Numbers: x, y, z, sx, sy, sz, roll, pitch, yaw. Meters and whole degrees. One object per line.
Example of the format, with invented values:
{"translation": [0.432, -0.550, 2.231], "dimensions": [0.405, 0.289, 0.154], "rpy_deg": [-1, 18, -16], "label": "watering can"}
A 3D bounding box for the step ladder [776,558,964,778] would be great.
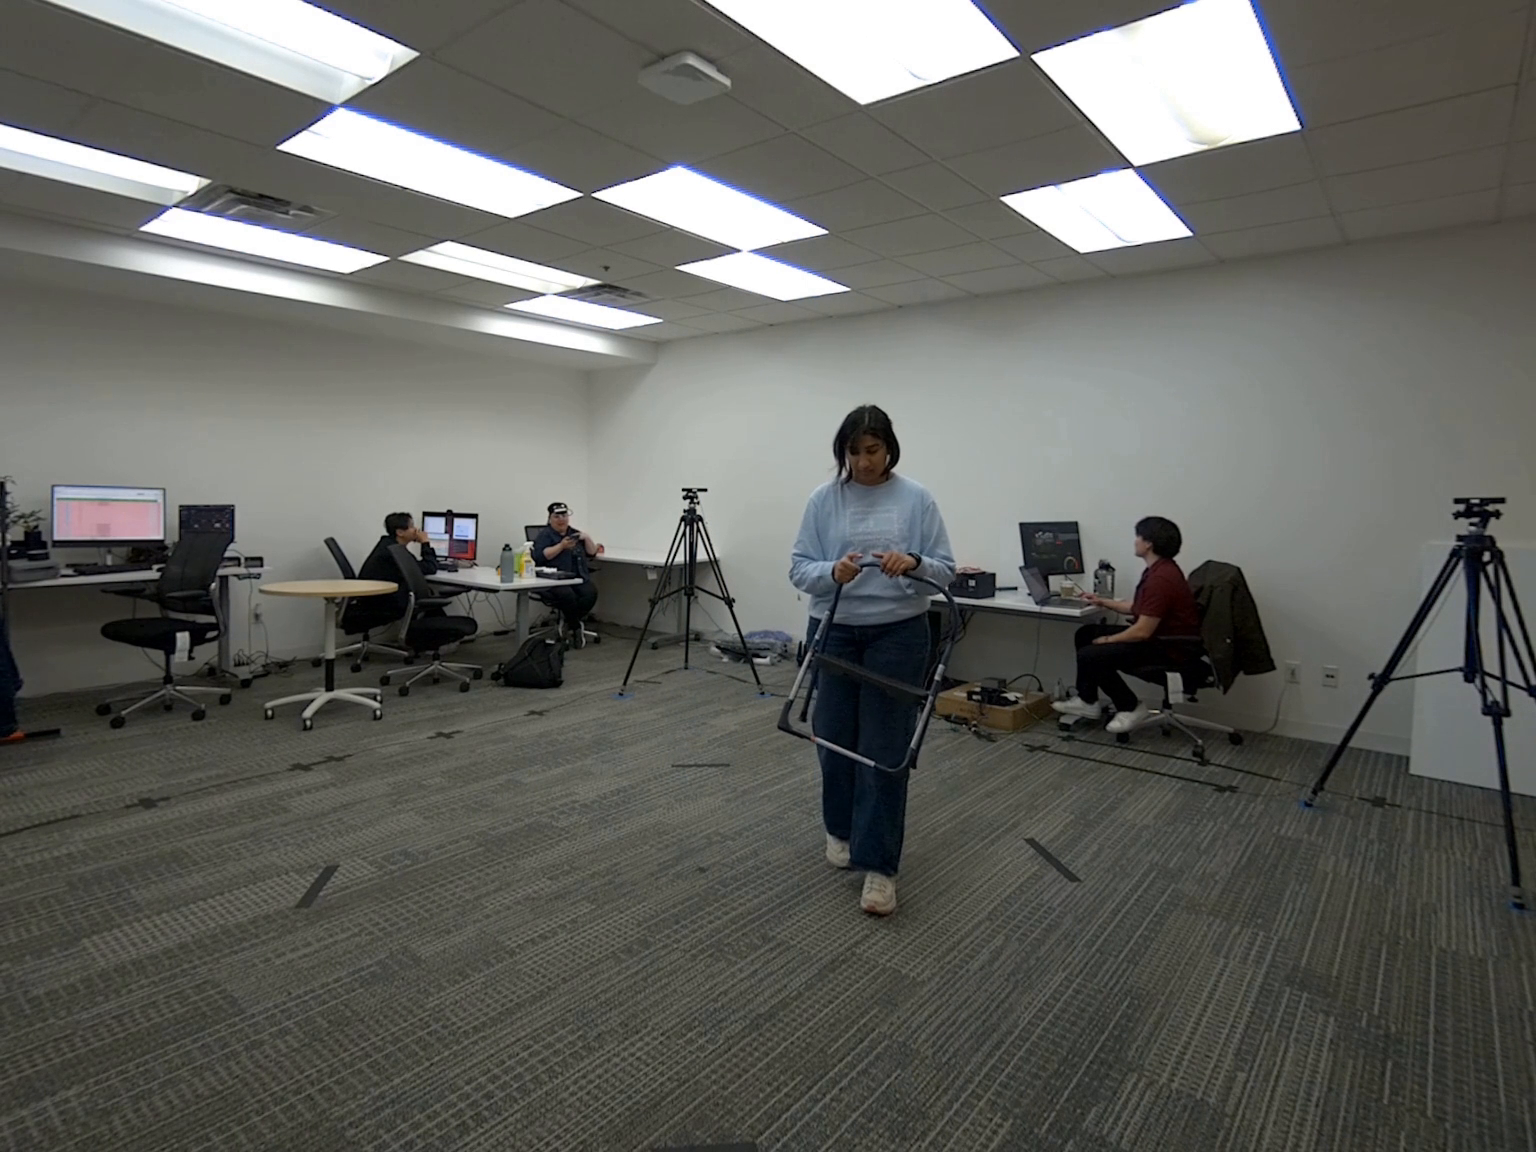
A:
{"translation": [0.350, 0.264, 2.748], "dimensions": [0.441, 0.606, 0.341], "rpy_deg": [19, -1, 18], "label": "step ladder"}
